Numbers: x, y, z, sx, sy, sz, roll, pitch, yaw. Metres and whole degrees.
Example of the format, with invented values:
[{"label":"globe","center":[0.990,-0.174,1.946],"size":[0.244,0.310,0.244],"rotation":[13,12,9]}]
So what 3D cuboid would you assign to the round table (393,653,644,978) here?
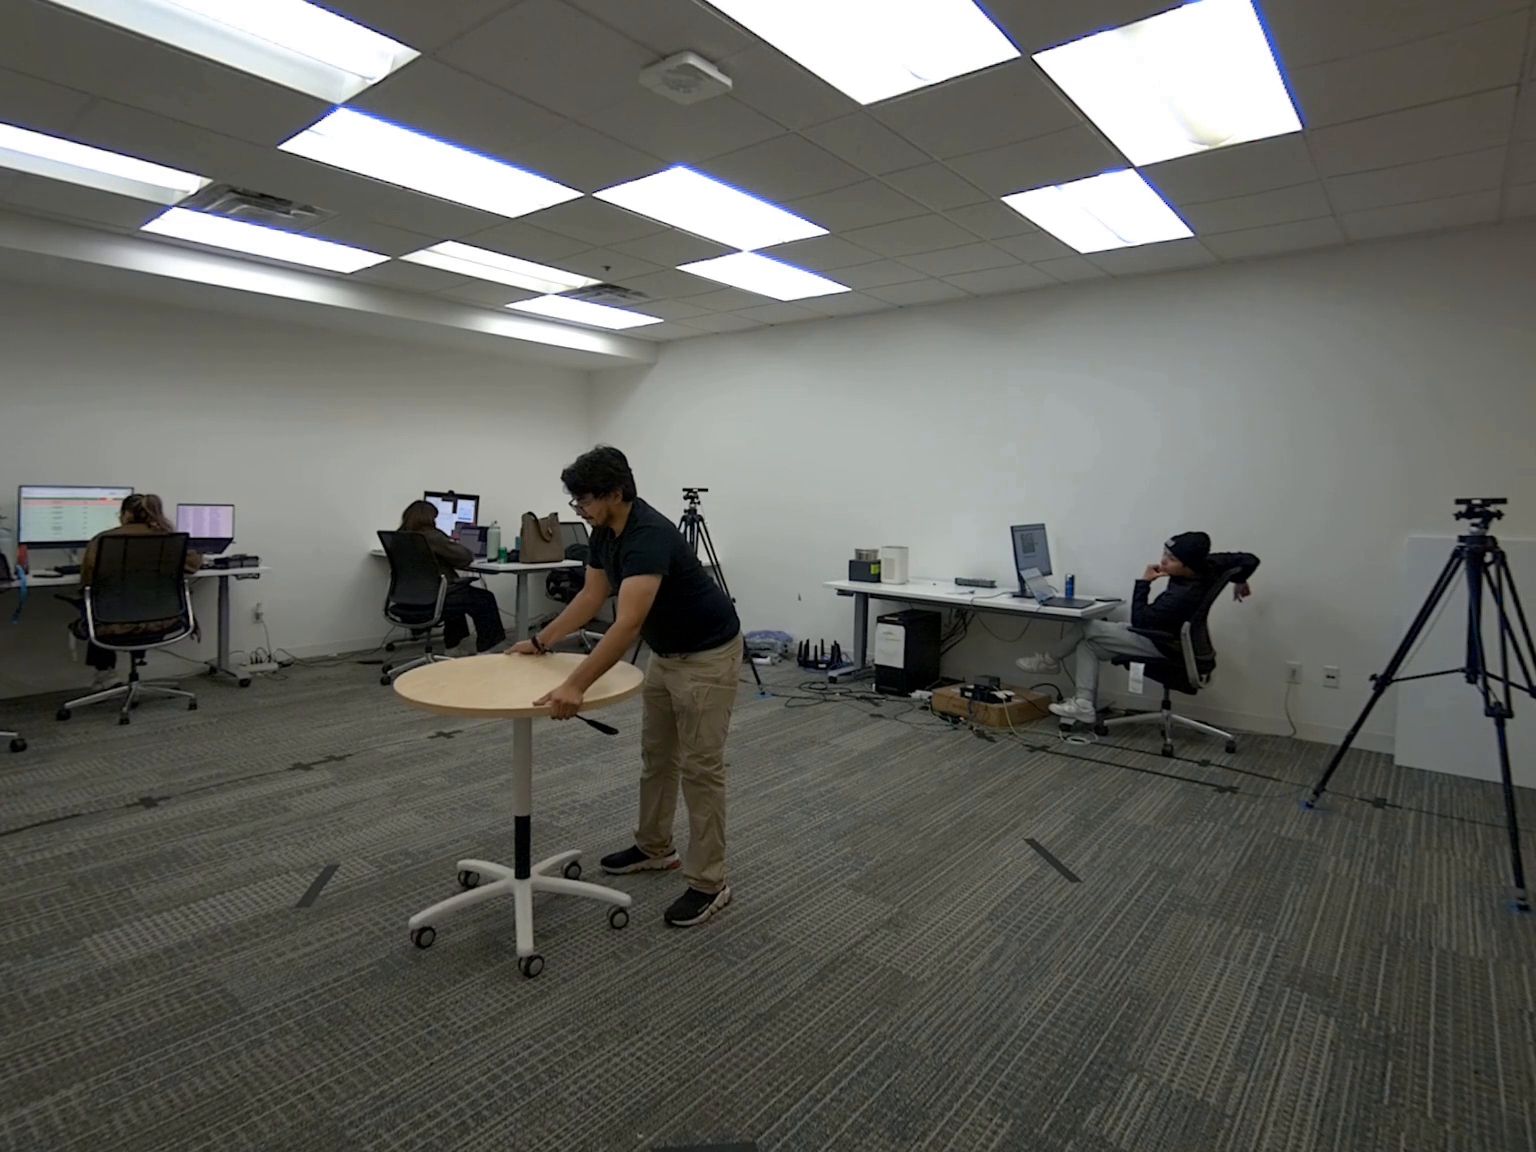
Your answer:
[{"label":"round table","center":[-0.804,0.697,2.720],"size":[0.784,0.784,0.789],"rotation":[1,4,-2]}]
